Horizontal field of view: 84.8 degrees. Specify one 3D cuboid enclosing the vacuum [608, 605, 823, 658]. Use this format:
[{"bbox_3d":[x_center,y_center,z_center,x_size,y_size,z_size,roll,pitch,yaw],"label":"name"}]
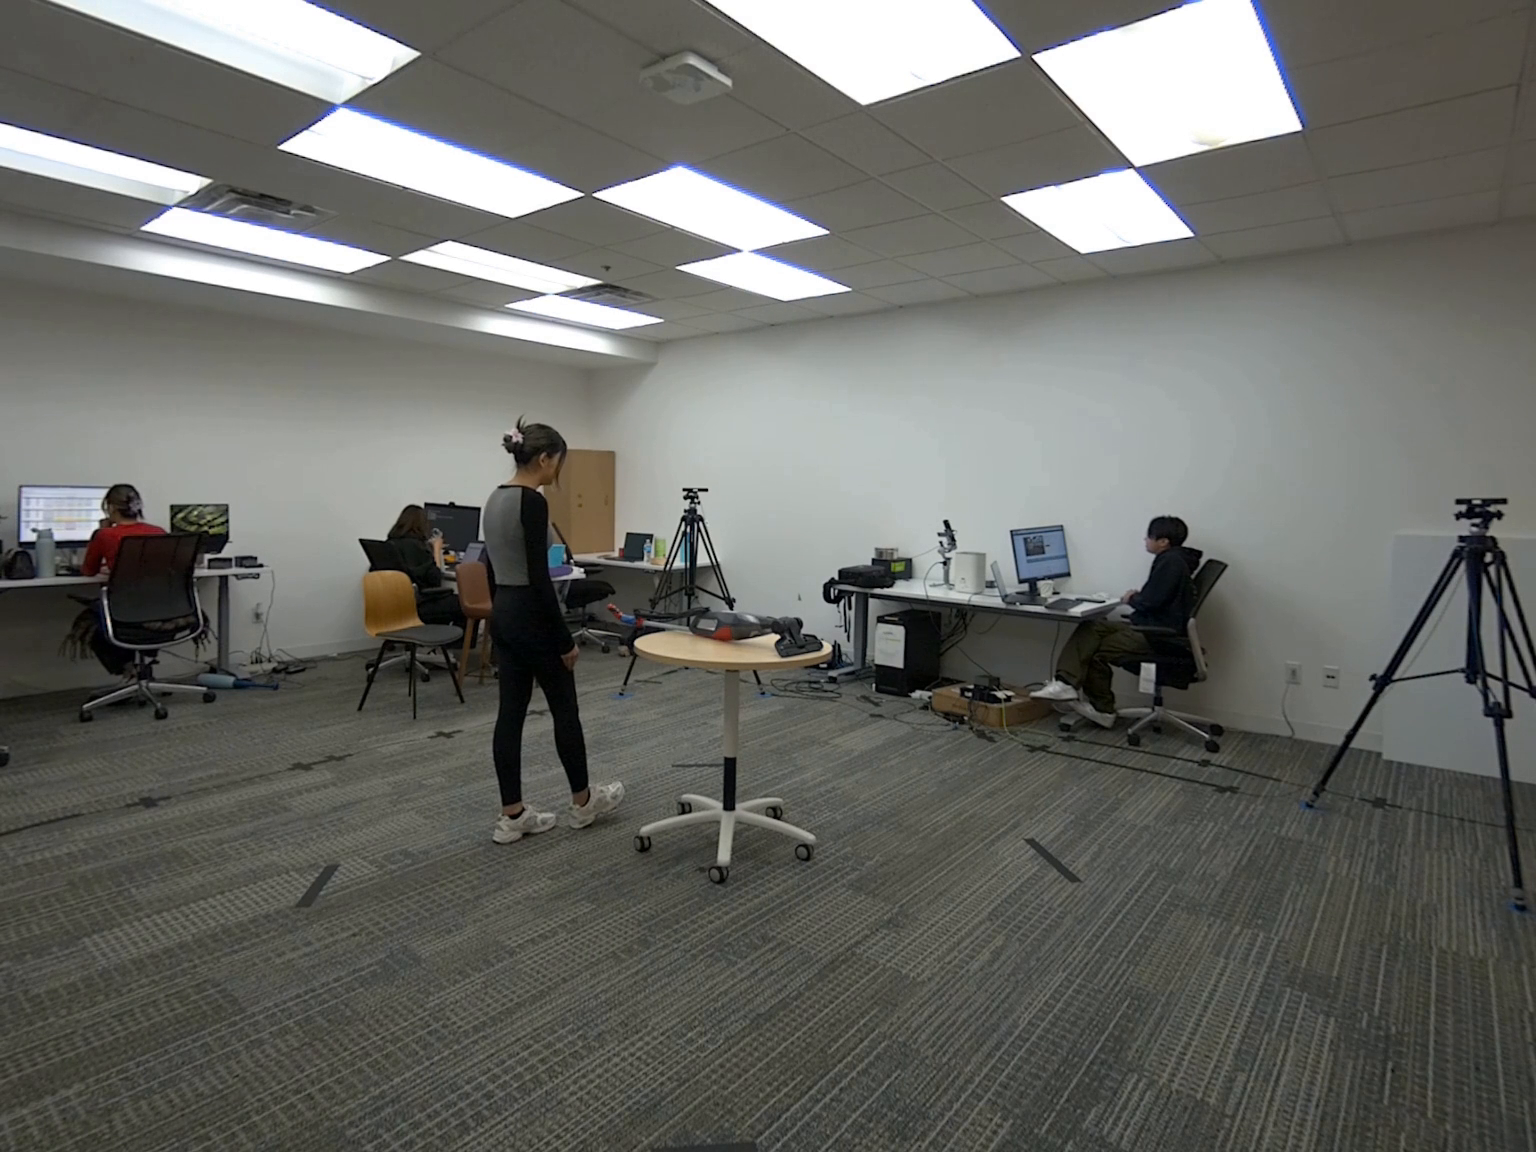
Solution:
[{"bbox_3d":[-0.297,0.190,3.496,1.085,0.143,0.245,6,7,42],"label":"vacuum"}]
